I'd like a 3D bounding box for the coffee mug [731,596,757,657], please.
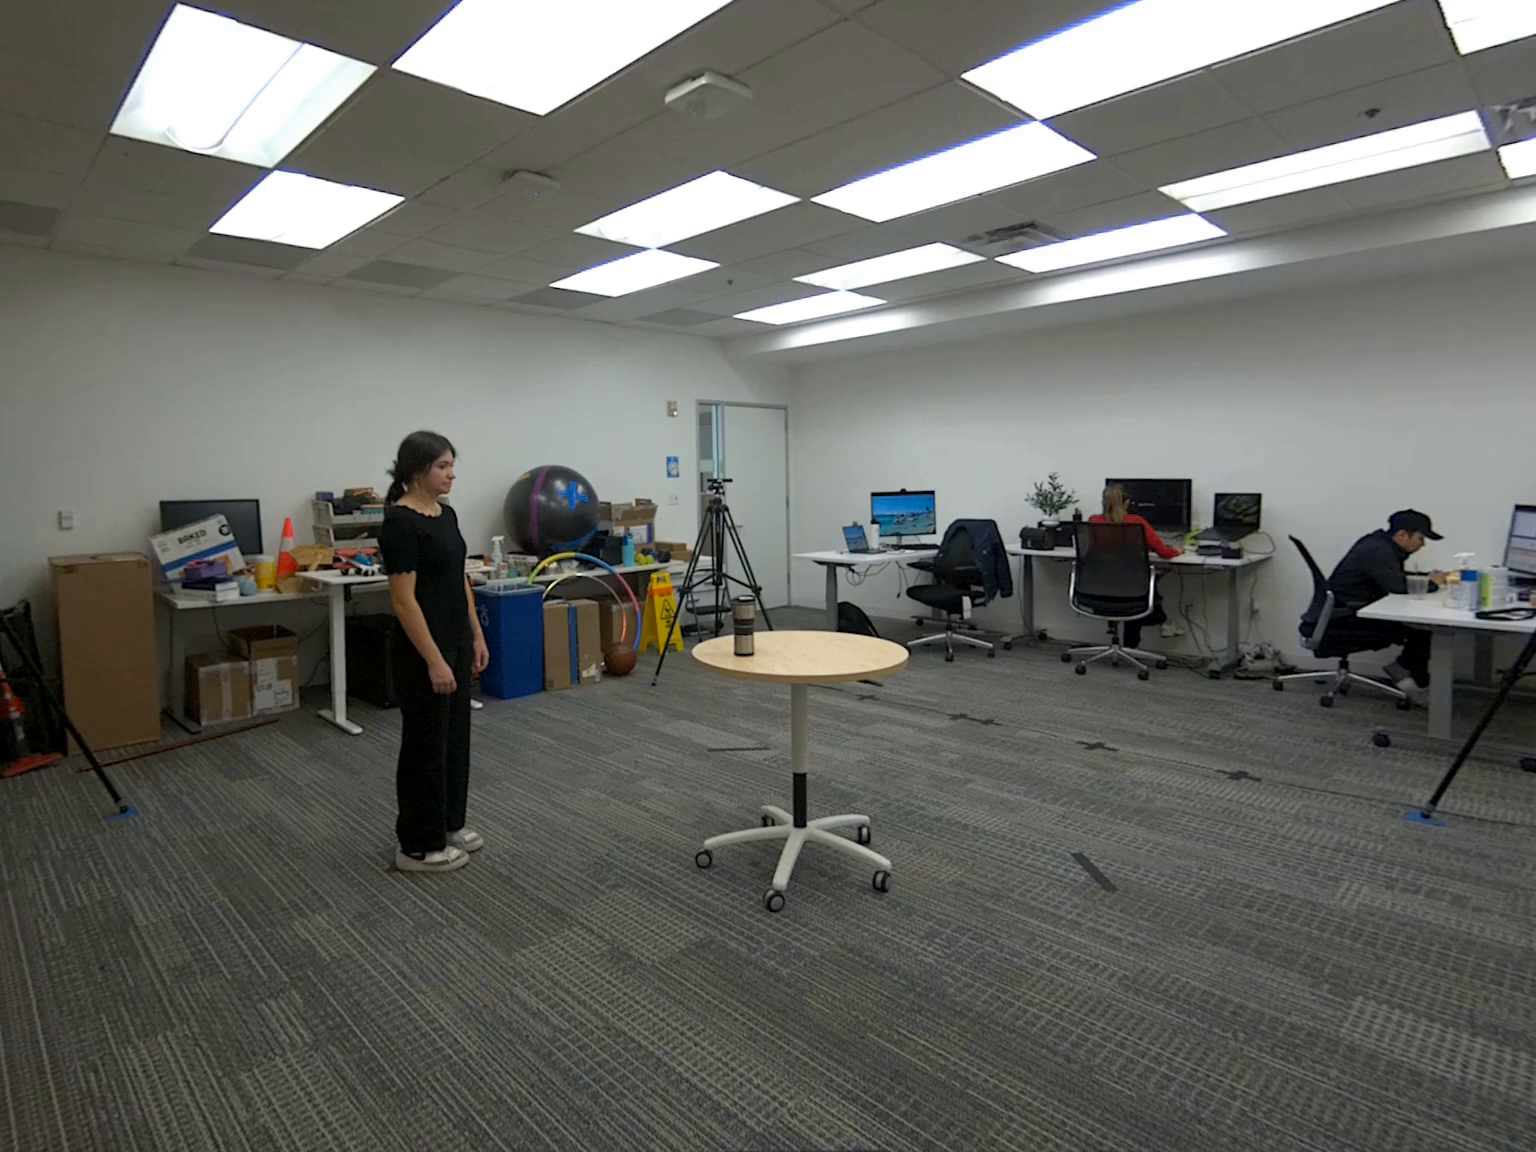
[{"bbox_3d":[-0.074,0.172,2.991,0.090,0.202,0.120,-1,6,27],"label":"coffee mug"}]
